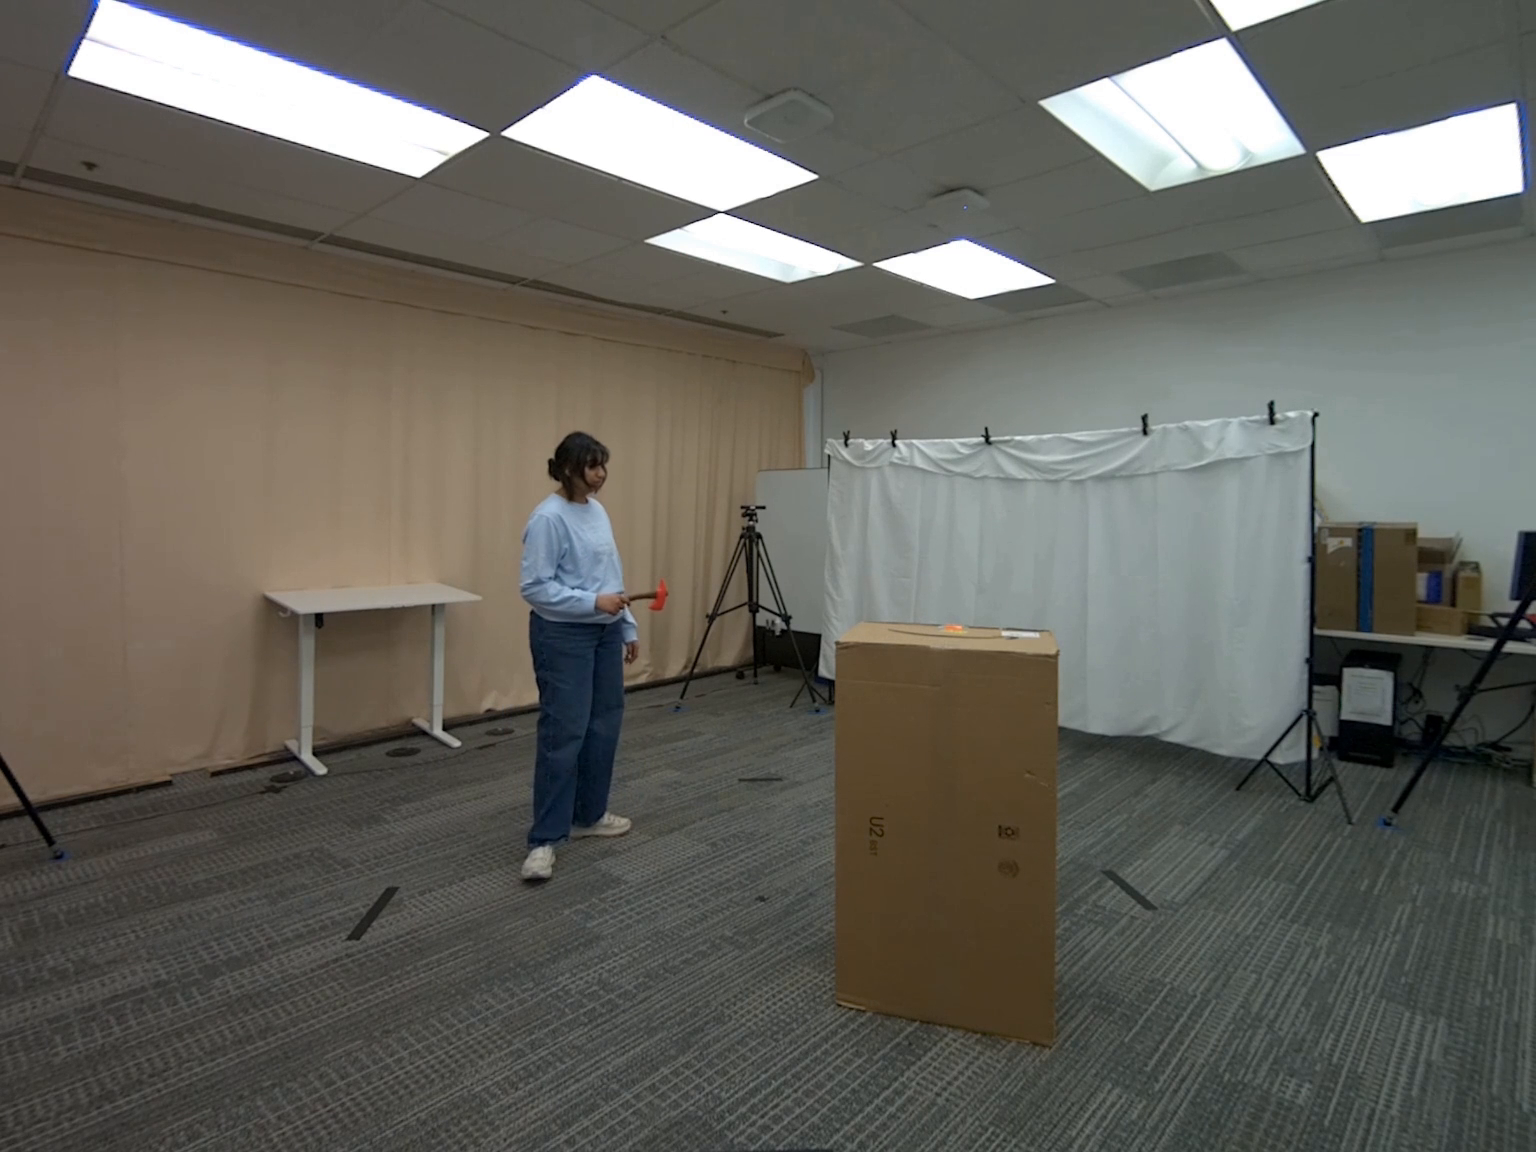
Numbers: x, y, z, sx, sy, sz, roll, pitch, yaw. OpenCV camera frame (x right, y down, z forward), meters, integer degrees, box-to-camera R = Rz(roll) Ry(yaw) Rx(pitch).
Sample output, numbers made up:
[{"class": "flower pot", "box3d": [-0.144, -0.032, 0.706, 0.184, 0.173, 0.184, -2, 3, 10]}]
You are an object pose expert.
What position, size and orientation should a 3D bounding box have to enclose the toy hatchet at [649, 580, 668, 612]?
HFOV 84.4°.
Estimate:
[{"class": "toy hatchet", "box3d": [-0.517, 0.111, 3.362, 0.266, 0.128, 0.030, -24, 30, -20]}]
